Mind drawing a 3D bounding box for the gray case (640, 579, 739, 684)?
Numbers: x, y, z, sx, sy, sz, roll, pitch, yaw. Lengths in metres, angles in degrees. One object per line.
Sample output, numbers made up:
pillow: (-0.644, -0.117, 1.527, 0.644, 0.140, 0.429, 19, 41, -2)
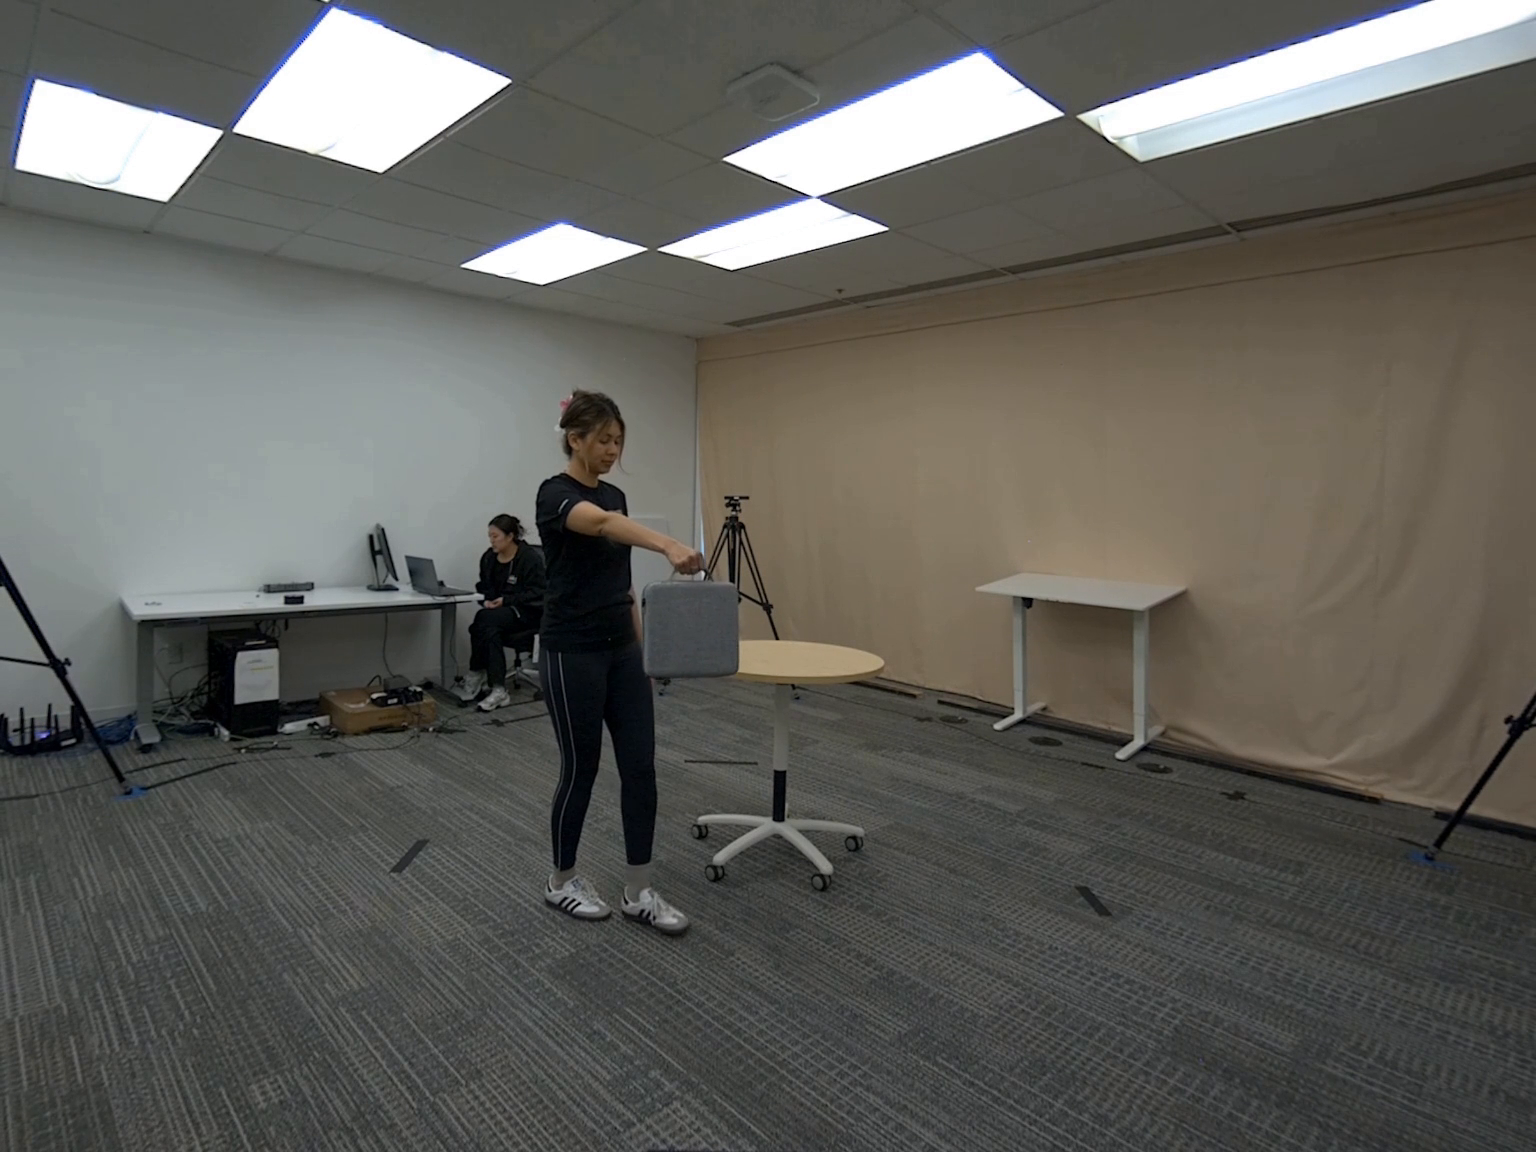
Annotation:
gray case: (-0.207, 0.142, 2.242, 0.255, 0.261, 0.105, -1, -4, -9)
